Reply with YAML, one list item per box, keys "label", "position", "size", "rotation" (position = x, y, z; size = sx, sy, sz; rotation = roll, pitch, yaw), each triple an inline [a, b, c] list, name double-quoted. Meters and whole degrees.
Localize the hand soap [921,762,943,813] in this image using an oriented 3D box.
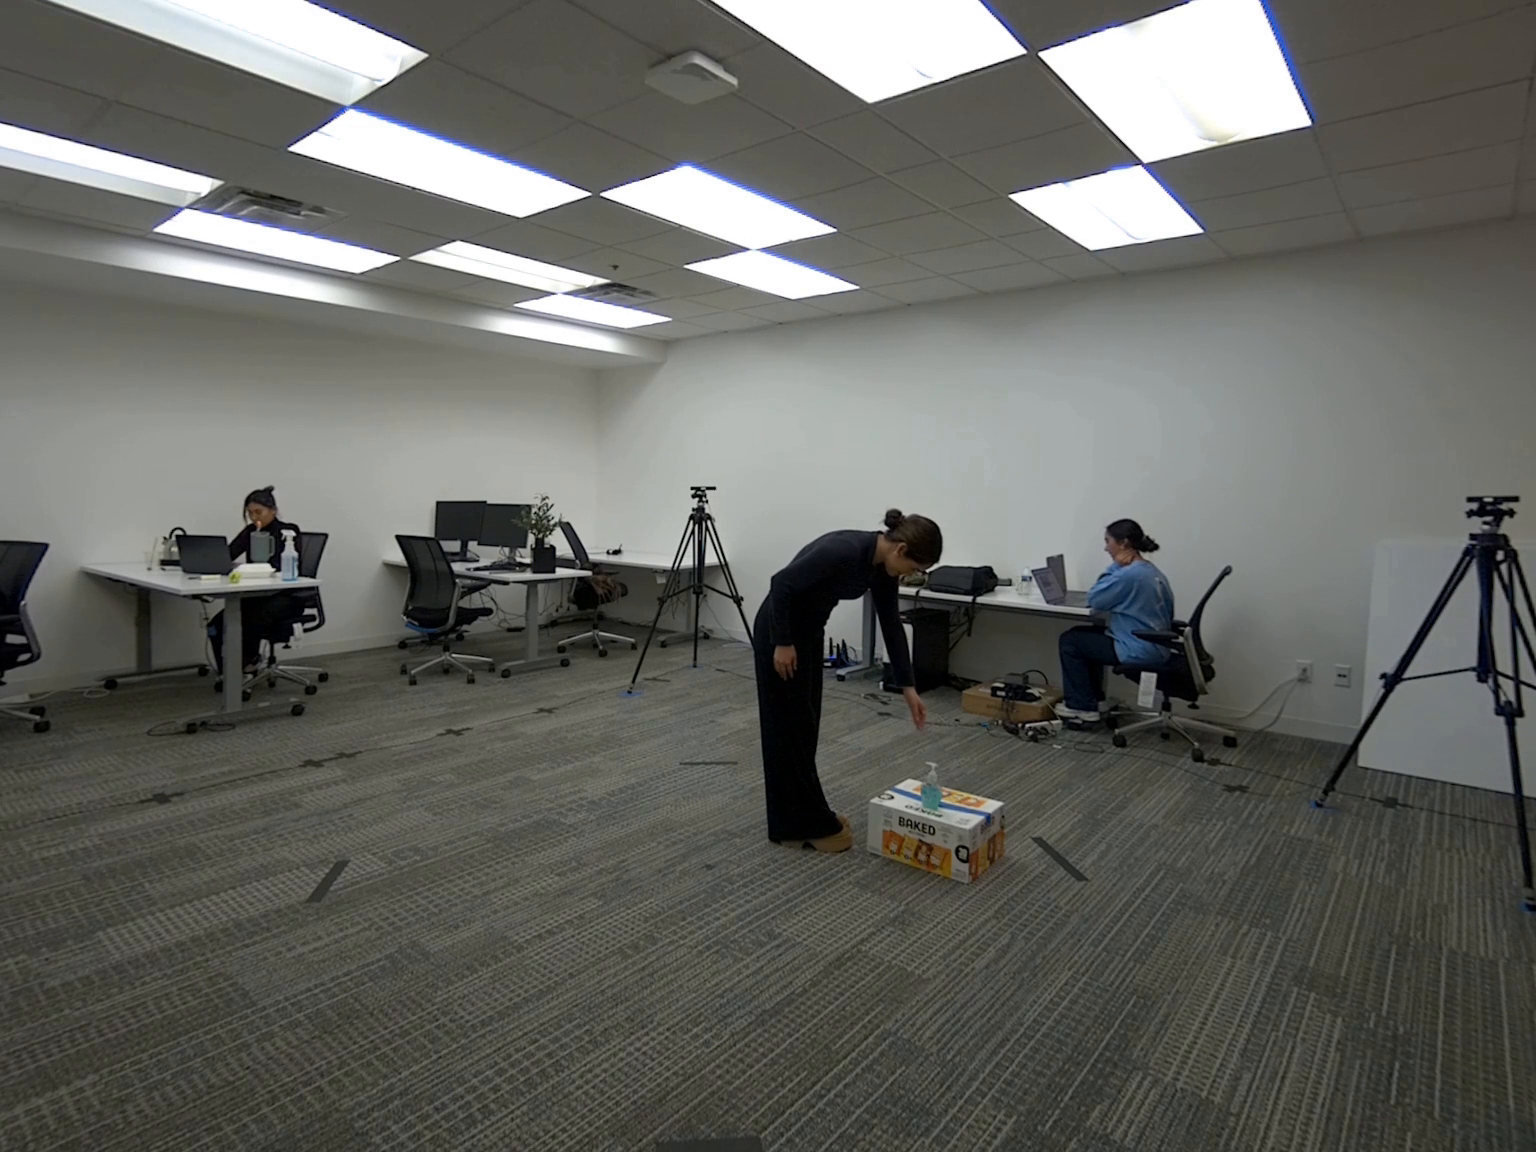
- label: "hand soap"
  position: [0.611, 0.790, 3.227]
  size: [0.042, 0.168, 0.087]
  rotation: [3, 4, -45]
